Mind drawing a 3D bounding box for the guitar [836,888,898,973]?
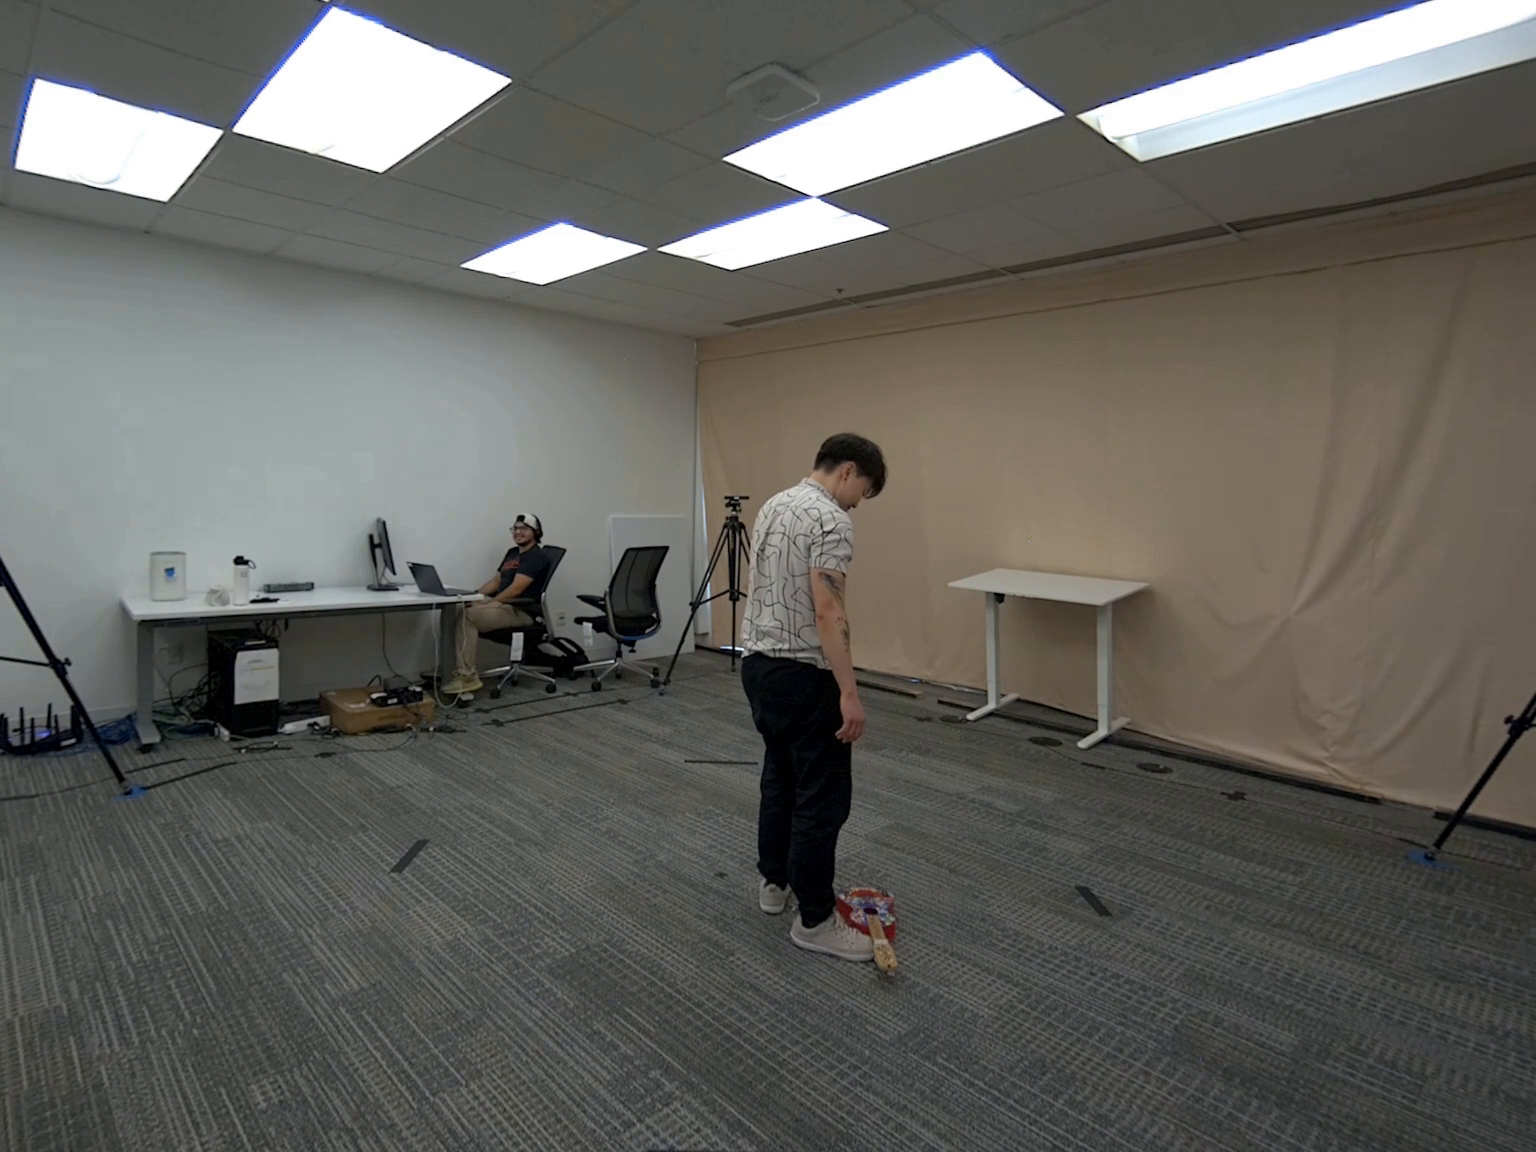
[{"bbox_3d":[0.301,1.121,2.659,0.194,0.070,0.496,3,5,6],"label":"guitar"}]
